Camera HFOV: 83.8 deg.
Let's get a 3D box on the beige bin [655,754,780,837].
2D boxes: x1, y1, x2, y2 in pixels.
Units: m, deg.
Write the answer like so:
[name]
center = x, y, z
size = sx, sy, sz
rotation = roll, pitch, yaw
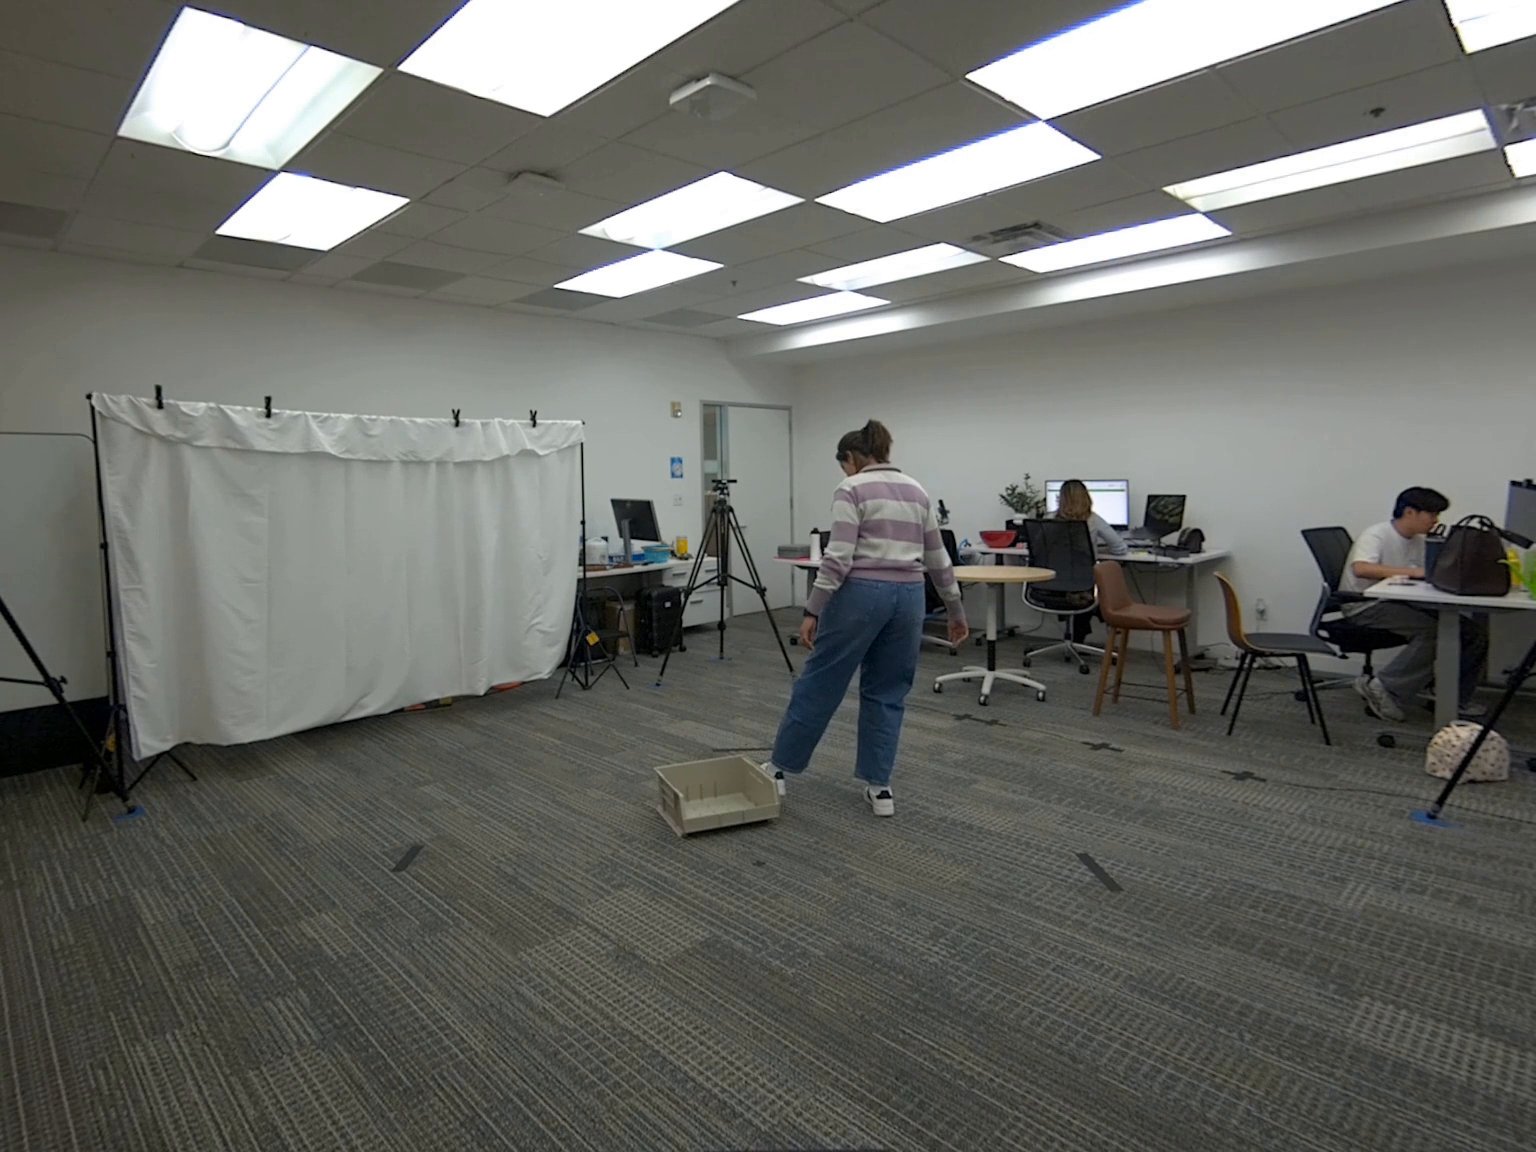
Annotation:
[beige bin]
center = -0.210, 0.912, 3.549
size = 0.414, 0.188, 0.386
rotation = -5, 6, -23
